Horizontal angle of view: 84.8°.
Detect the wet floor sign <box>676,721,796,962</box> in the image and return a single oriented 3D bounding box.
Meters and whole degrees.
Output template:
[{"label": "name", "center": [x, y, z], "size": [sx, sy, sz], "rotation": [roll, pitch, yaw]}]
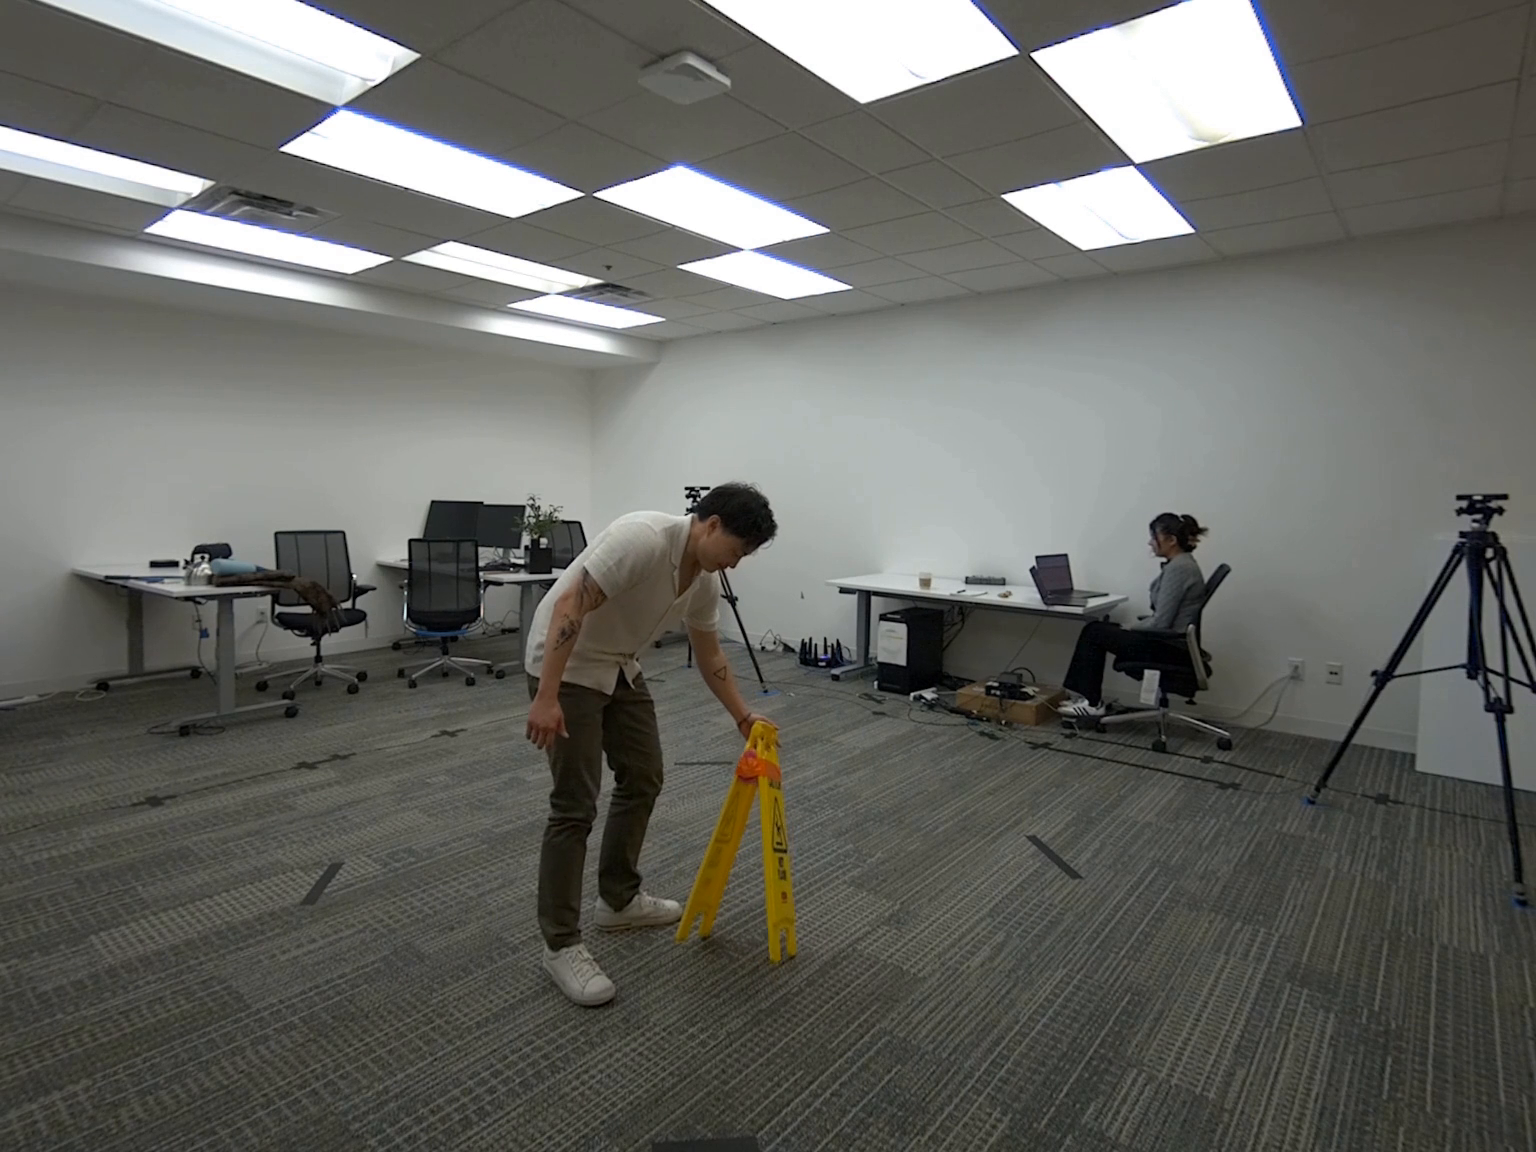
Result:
[{"label": "wet floor sign", "center": [-0.053, 0.779, 2.576], "size": [0.295, 0.654, 0.273], "rotation": [3, -17, 17]}]
